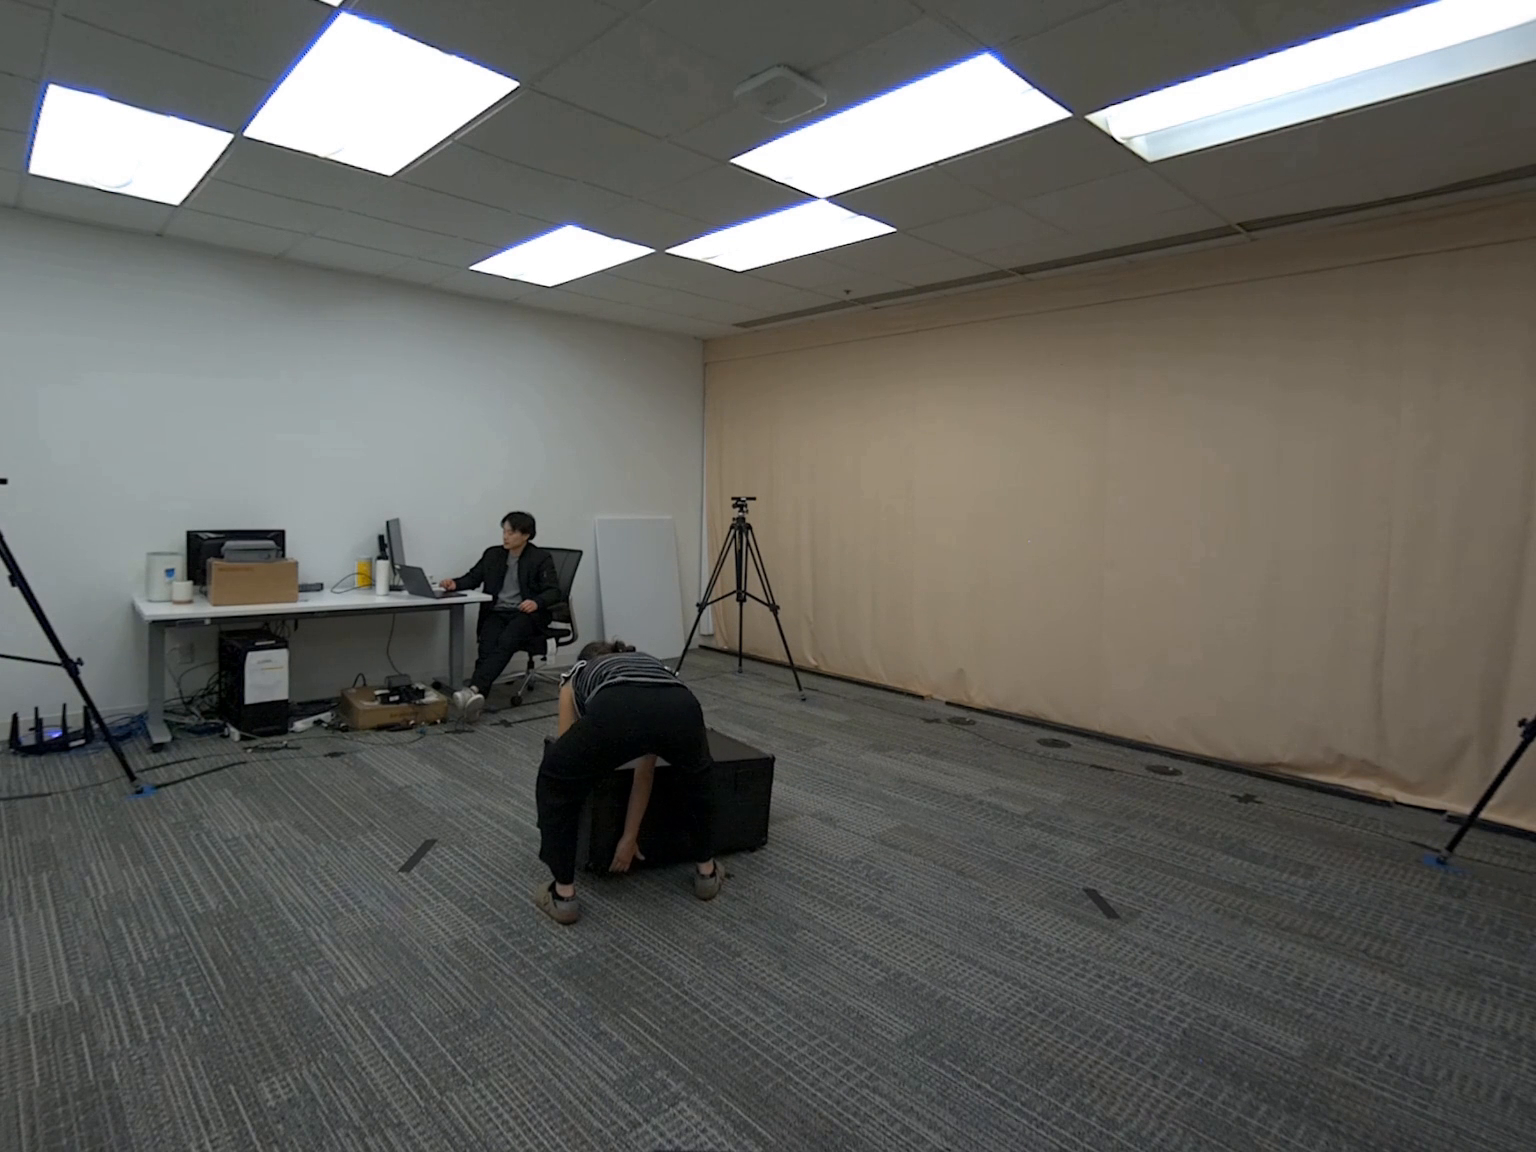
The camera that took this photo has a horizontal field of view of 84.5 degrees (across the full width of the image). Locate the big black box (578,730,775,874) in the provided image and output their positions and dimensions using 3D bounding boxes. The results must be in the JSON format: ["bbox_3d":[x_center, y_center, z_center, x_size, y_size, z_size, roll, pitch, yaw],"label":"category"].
[{"bbox_3d":[-0.415,0.870,3.357,0.841,0.396,0.534,2,3,-36],"label":"big black box"}]
